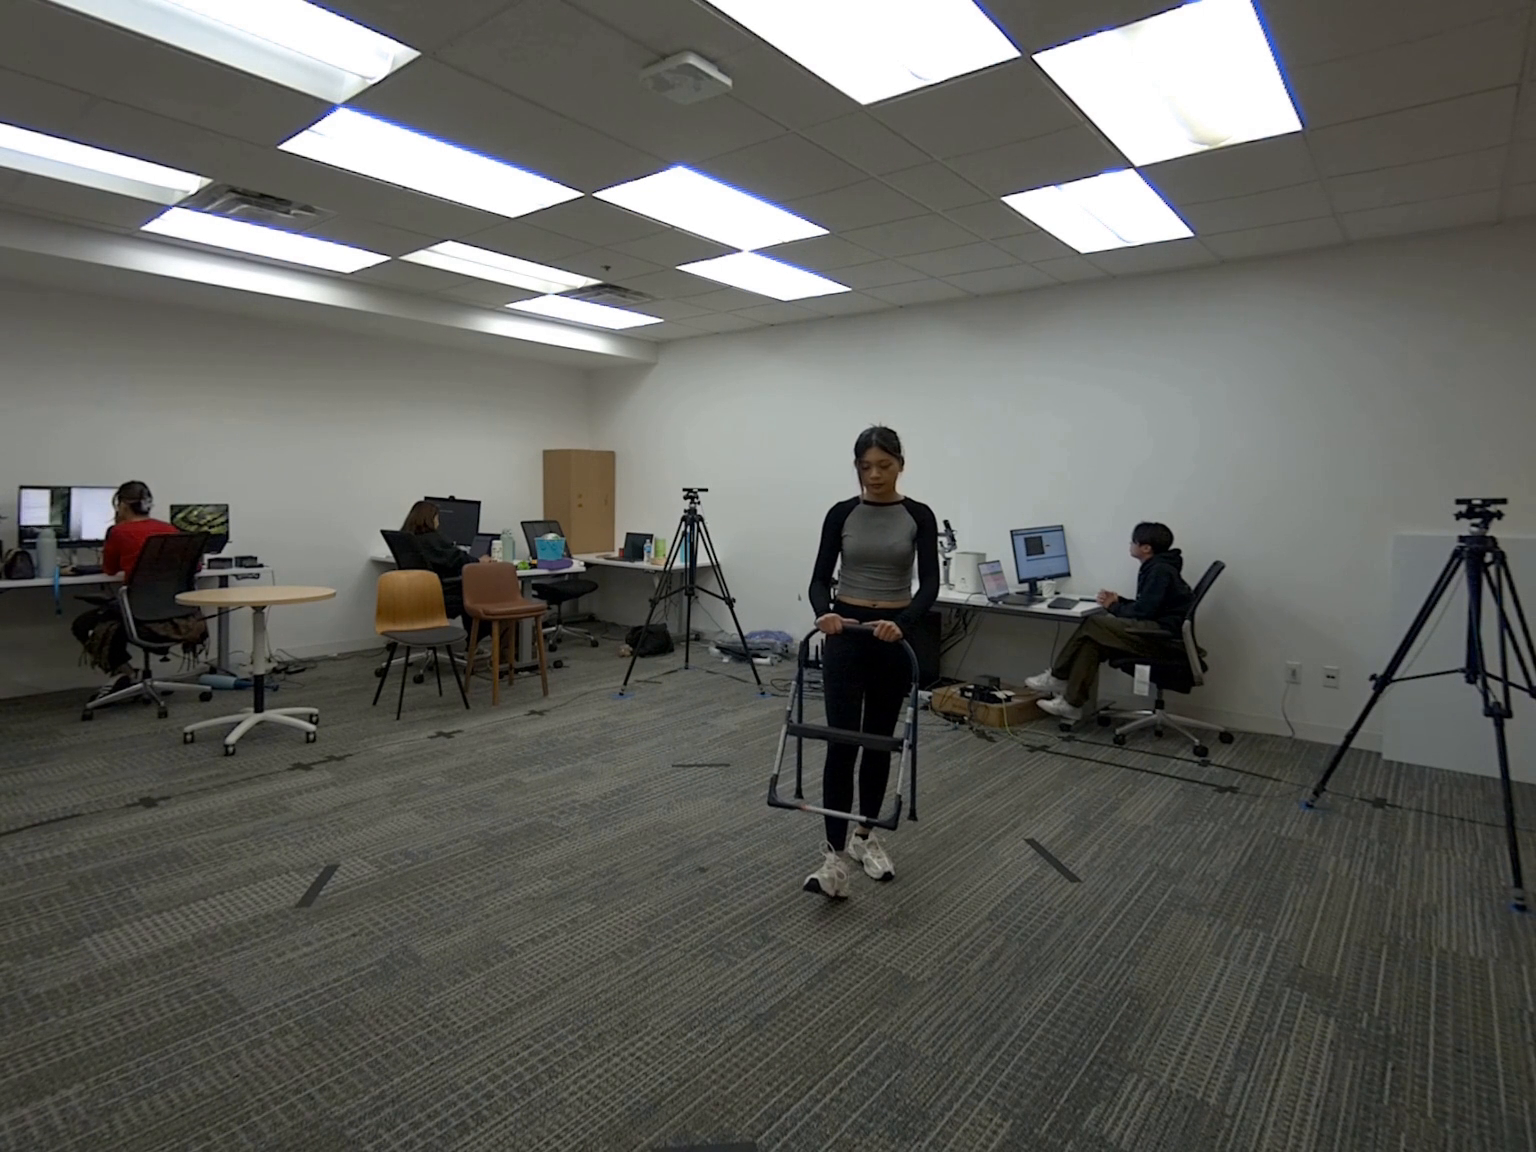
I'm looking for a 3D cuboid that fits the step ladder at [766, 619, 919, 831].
[{"bbox_3d":[0.274,0.468,2.804,0.441,0.610,0.339,3,-9,22],"label":"step ladder"}]
